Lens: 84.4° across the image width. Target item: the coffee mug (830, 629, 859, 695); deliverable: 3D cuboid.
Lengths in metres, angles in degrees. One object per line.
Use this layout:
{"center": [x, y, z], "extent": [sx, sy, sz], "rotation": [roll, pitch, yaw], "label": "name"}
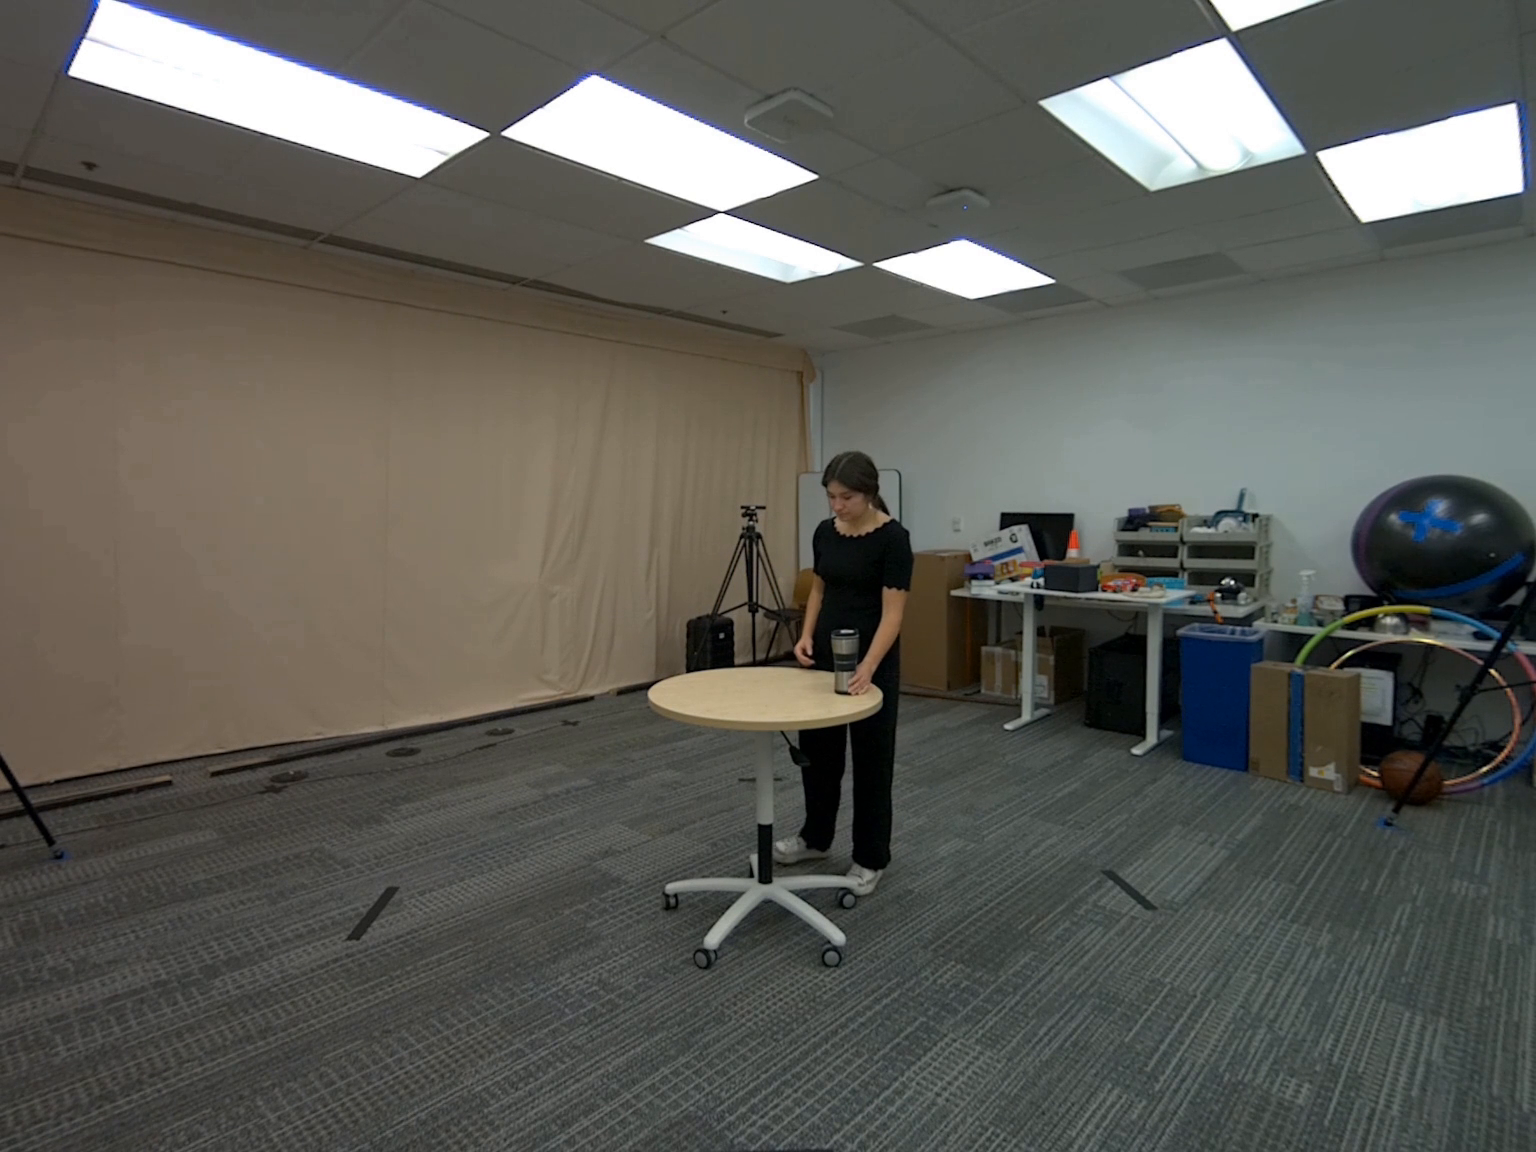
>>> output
{"center": [0.268, 0.274, 2.740], "extent": [0.119, 0.202, 0.090], "rotation": [-5, 3, -28], "label": "coffee mug"}
